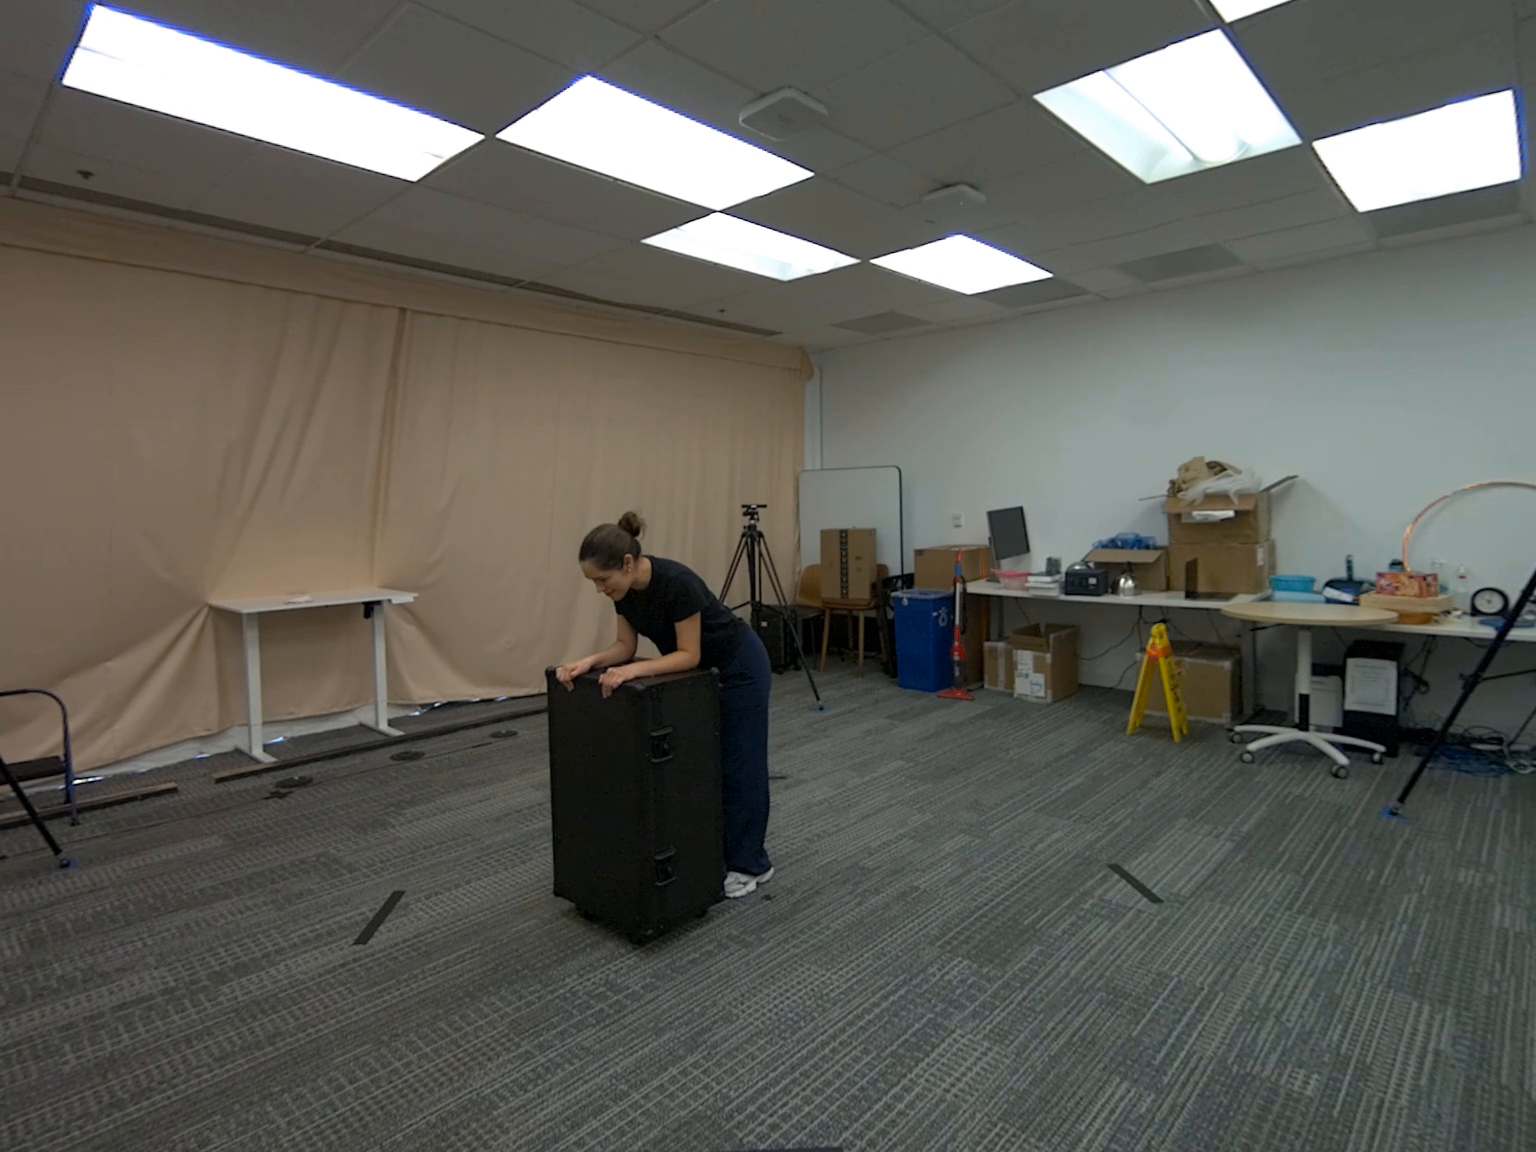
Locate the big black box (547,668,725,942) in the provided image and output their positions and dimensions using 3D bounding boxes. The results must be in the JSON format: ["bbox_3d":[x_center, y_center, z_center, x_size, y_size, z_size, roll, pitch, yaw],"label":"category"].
[{"bbox_3d":[-0.428,0.681,2.845,0.538,0.859,0.384,1,5,42],"label":"big black box"}]
